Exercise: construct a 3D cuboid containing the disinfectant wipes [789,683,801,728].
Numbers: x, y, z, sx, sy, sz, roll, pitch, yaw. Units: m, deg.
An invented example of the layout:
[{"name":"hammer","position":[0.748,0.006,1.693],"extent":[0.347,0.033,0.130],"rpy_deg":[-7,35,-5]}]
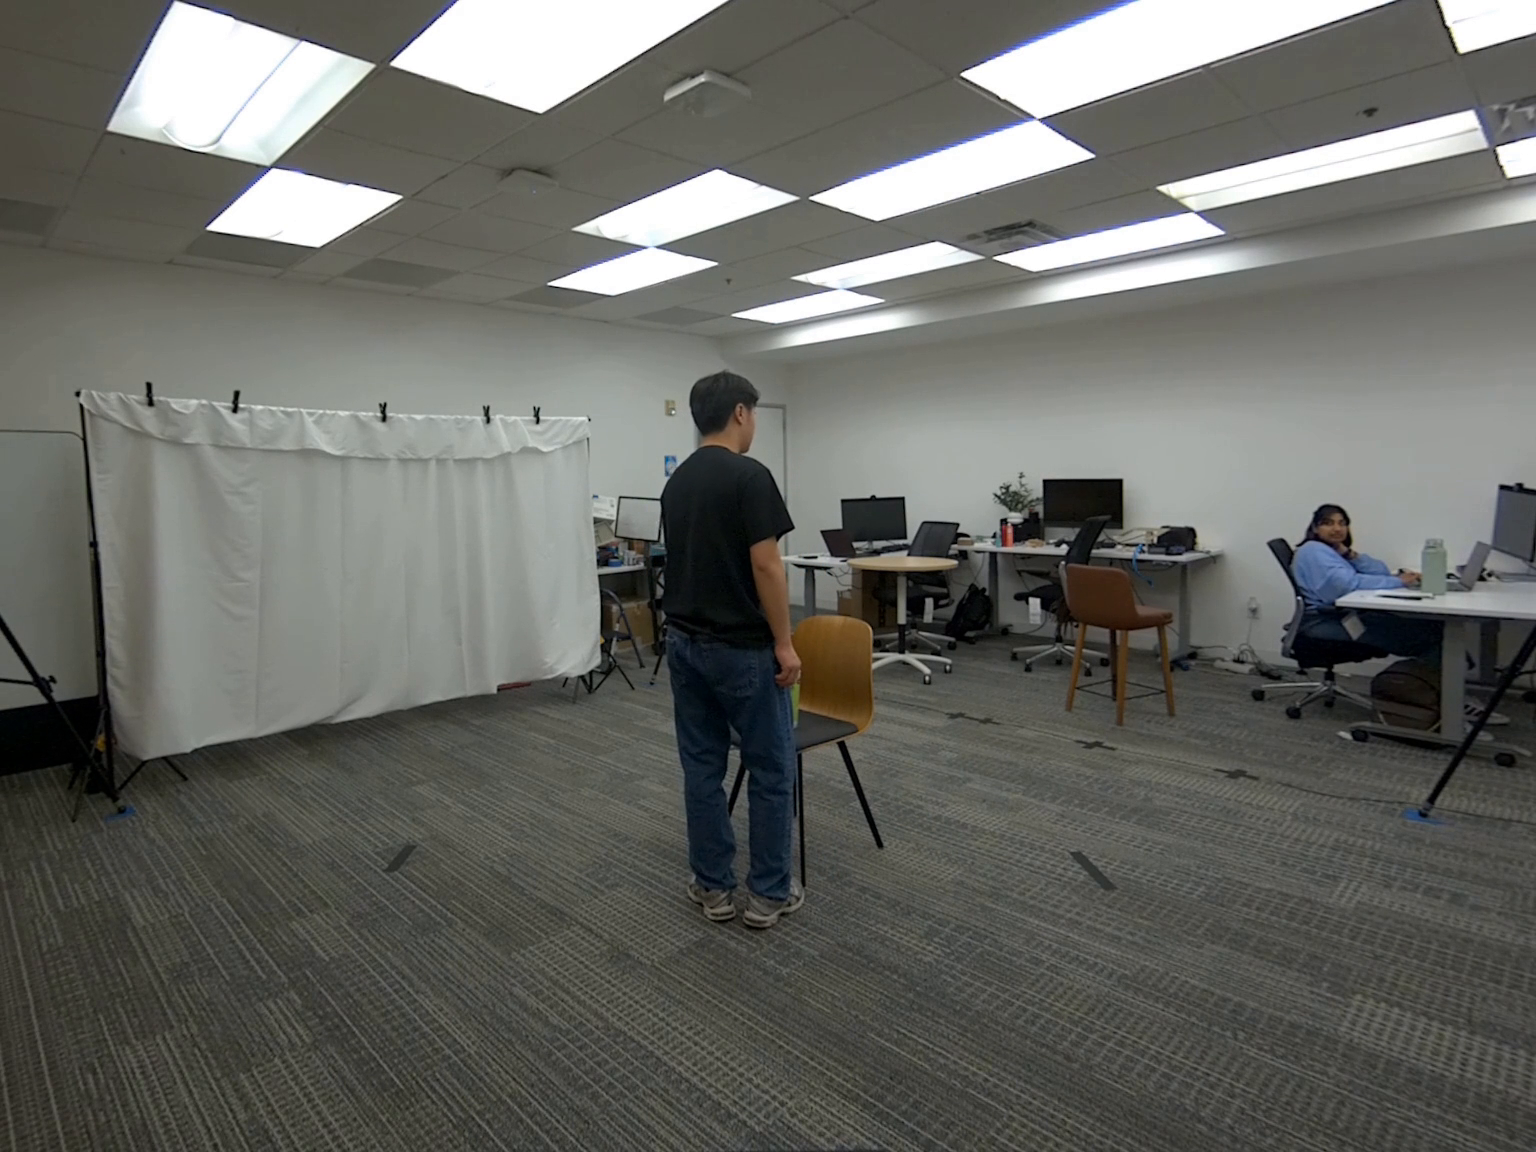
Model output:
[{"name":"disinfectant wipes","position":[0.063,0.451,3.167],"extent":[0.118,0.217,0.118],"rpy_deg":[2,2,-2]}]
